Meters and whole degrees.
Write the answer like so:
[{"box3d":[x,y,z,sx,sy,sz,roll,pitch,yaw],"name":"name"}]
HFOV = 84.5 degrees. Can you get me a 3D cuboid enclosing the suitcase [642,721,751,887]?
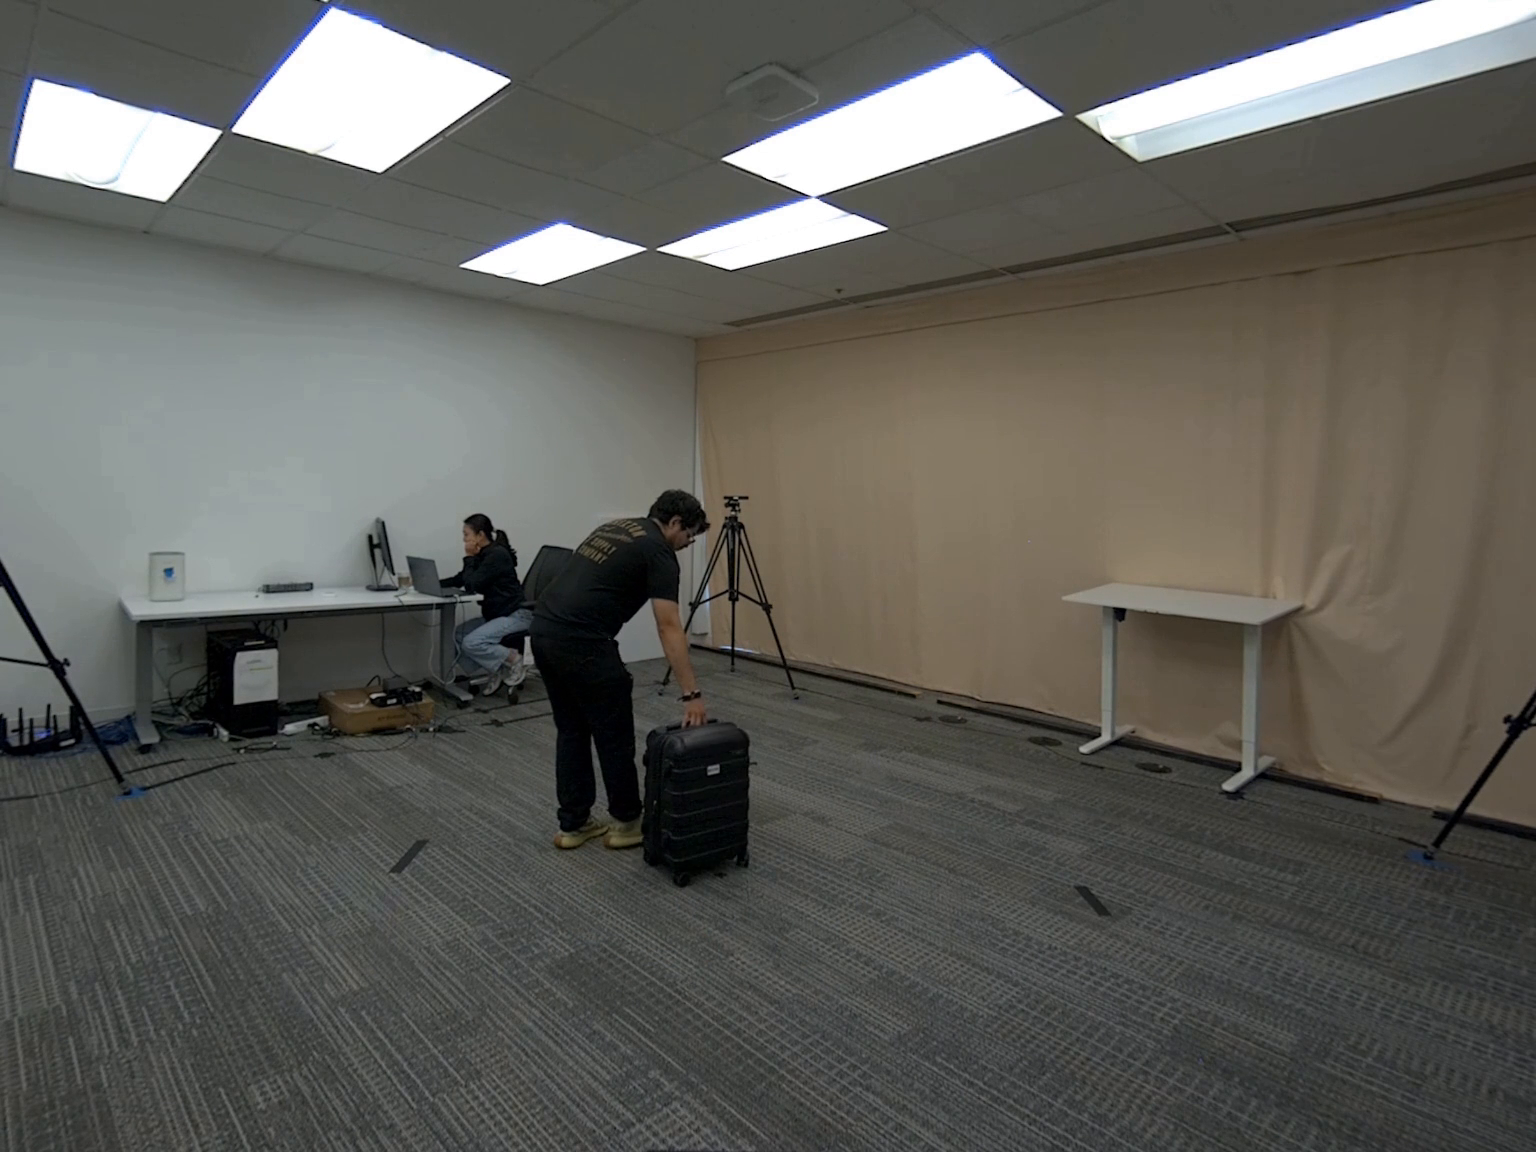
[{"box3d":[-0.271,0.827,3.153,0.367,0.547,0.255,-3,7,-37],"name":"suitcase"}]
